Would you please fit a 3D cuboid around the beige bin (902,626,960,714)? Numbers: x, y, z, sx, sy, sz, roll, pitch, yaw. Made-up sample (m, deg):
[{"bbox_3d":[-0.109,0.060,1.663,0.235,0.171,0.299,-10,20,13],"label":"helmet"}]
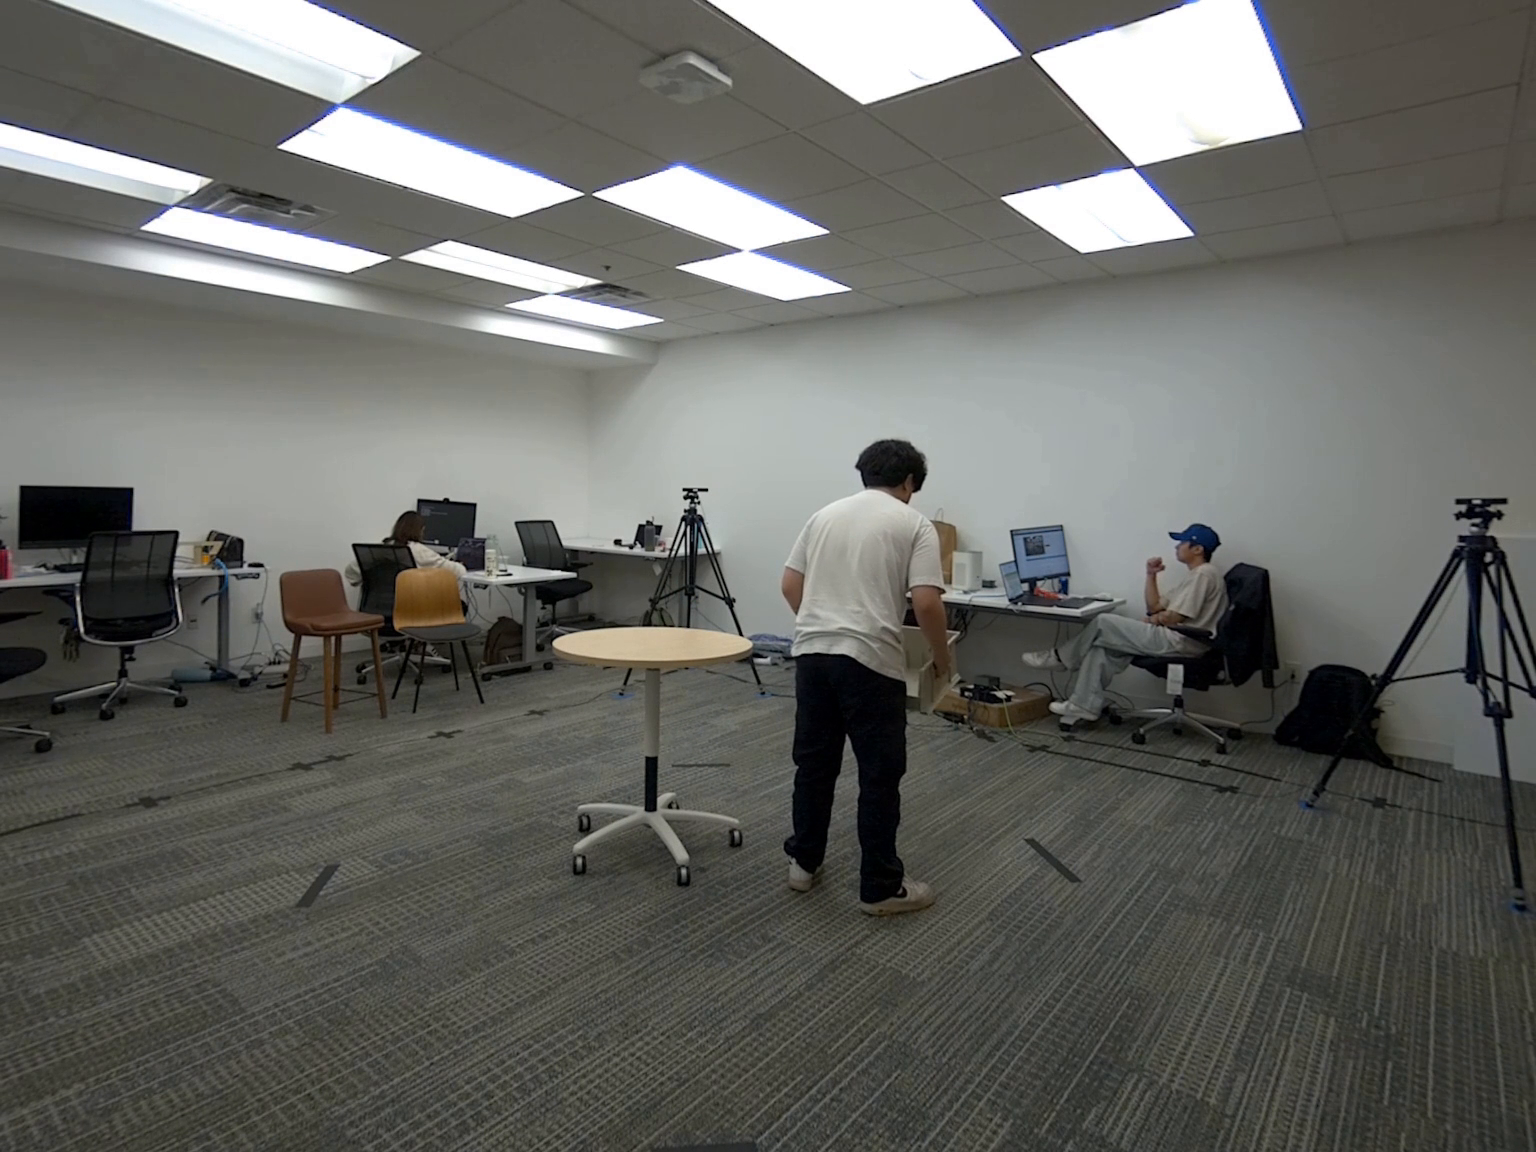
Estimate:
[{"bbox_3d":[0.442,0.326,3.137,0.436,0.186,0.371,4,17,35],"label":"beige bin"}]
